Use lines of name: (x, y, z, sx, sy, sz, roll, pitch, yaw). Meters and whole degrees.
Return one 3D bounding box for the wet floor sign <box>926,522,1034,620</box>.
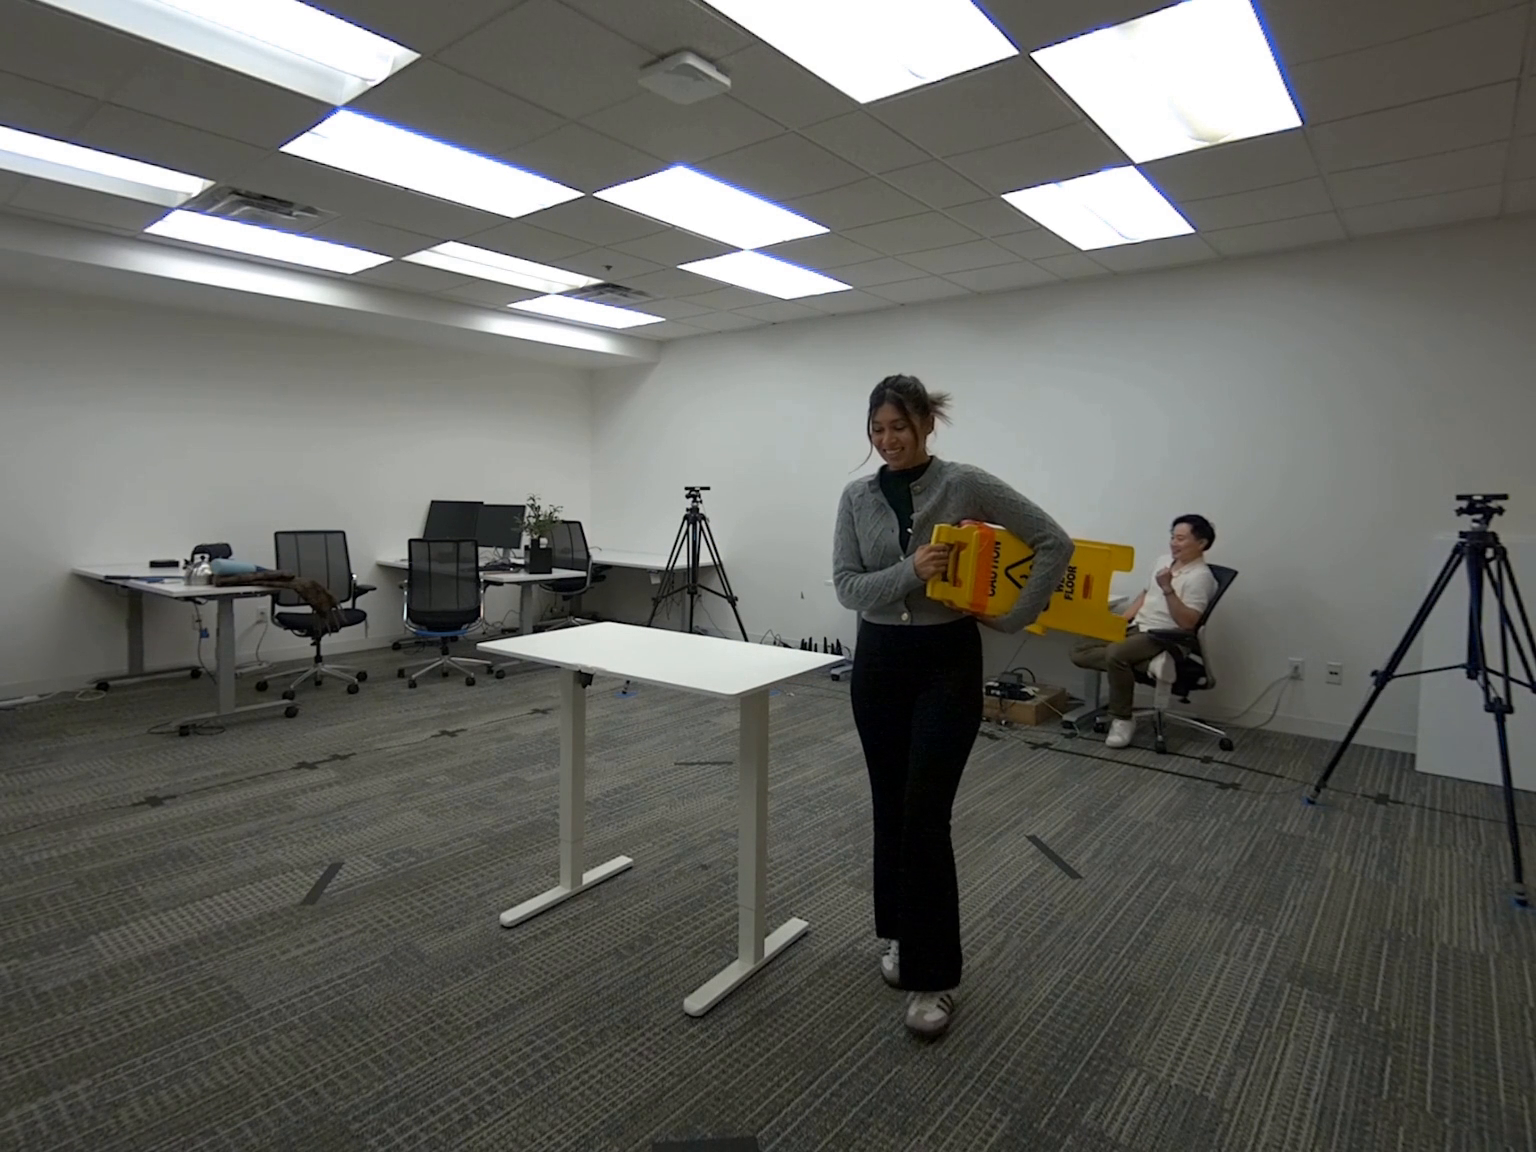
wet floor sign: (0.690, 0.007, 2.379, 0.625, 0.283, 0.298, 10, -4, -33)
